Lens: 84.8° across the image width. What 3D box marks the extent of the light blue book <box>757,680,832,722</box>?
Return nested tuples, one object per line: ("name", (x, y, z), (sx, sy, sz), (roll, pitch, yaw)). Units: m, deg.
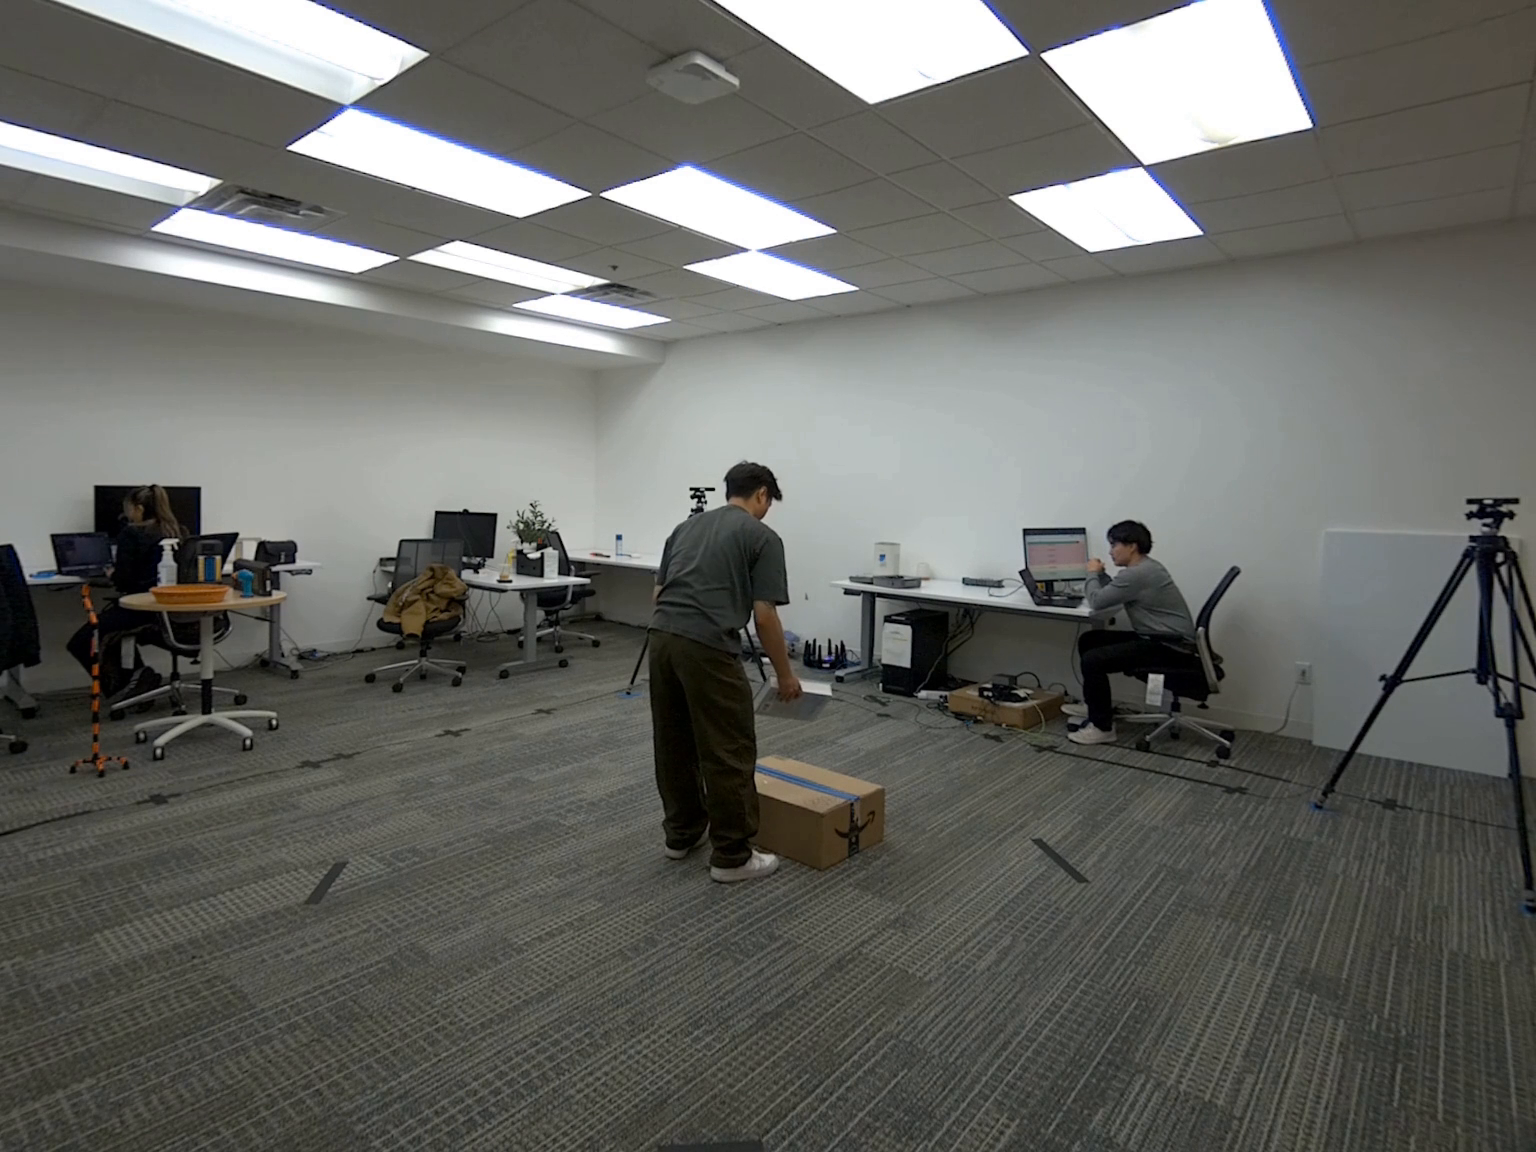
("light blue book", (0.086, 0.475, 3.262), (0.256, 0.061, 0.189), (9, -45, -17))
